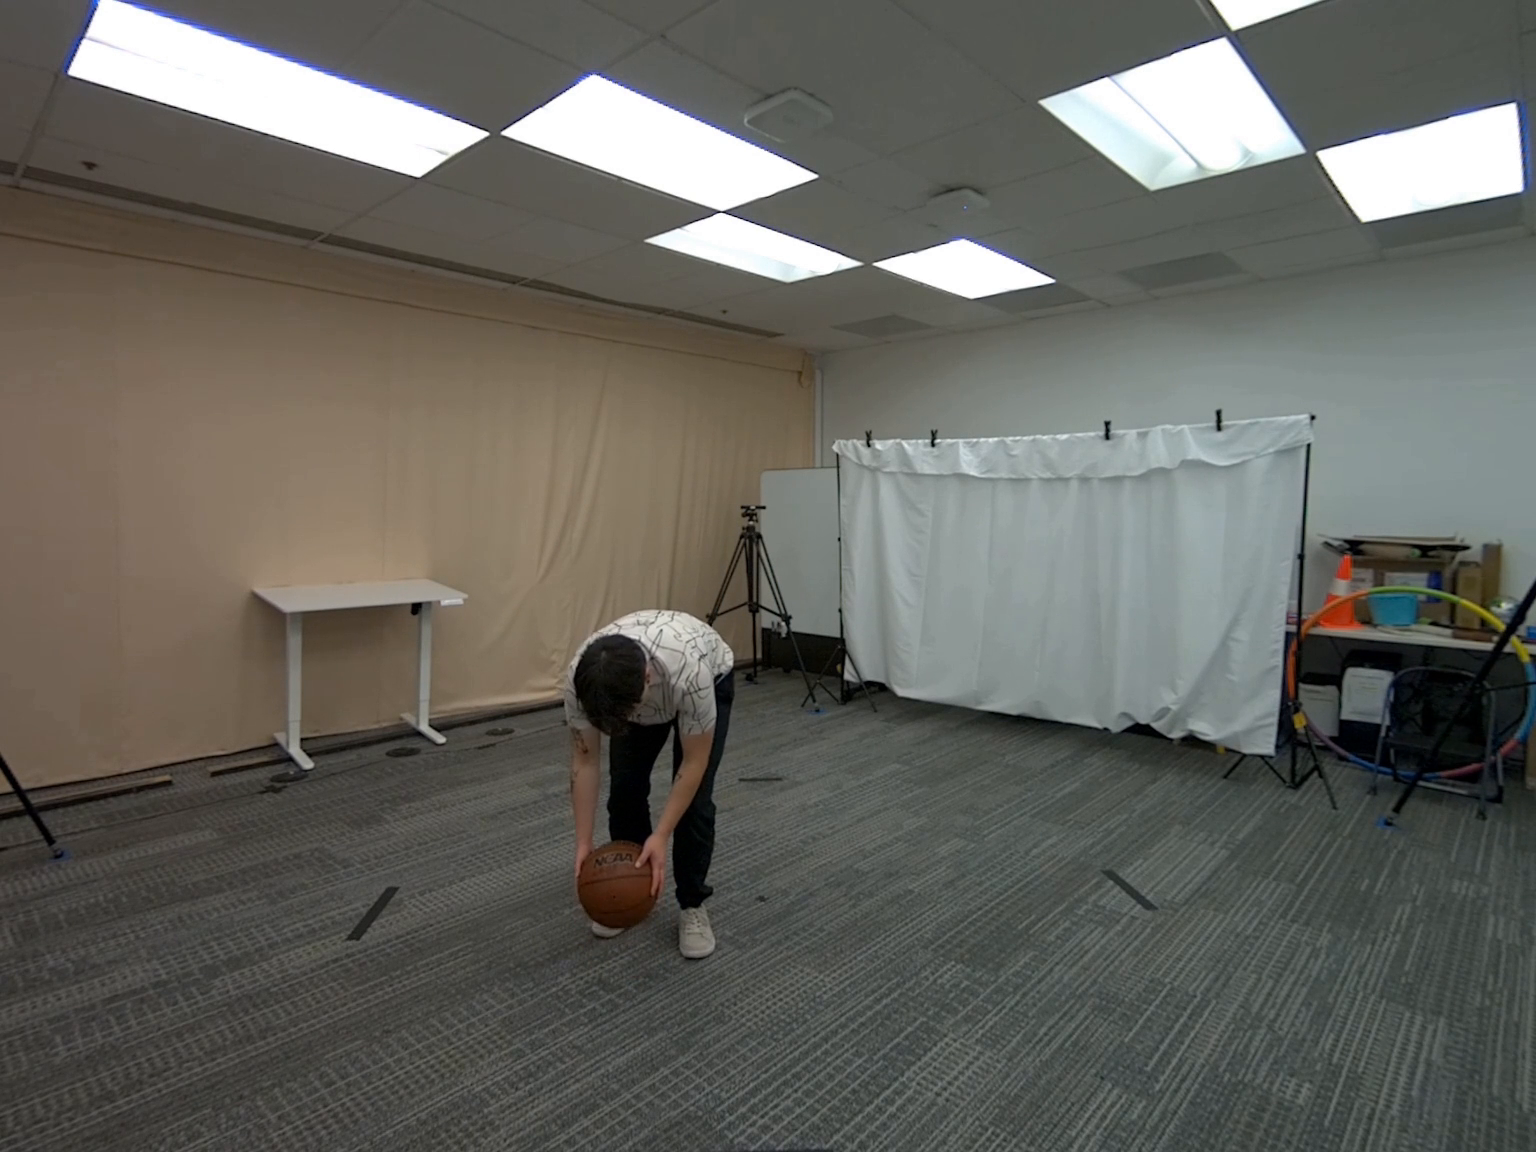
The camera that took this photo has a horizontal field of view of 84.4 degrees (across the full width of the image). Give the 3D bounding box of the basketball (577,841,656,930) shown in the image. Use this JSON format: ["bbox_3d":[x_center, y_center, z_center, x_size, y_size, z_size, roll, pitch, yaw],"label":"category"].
[{"bbox_3d":[-0.428,0.891,2.455,0.236,0.235,0.237,0,4,-2],"label":"basketball"}]
